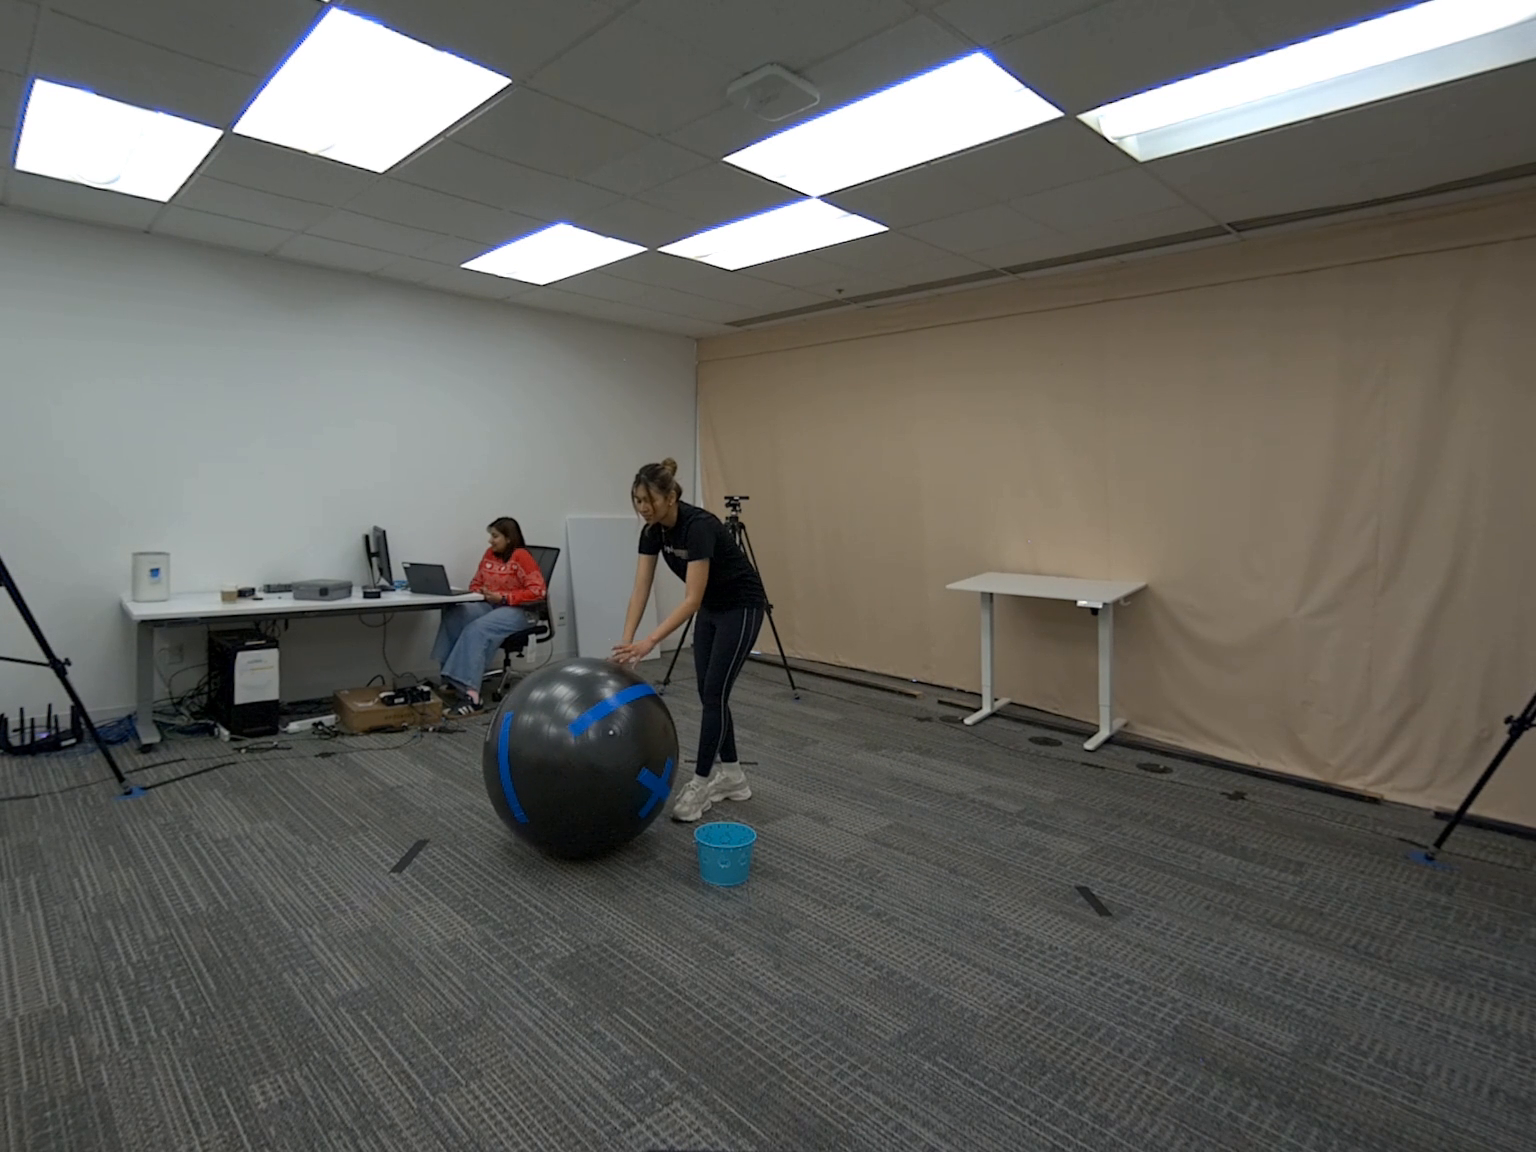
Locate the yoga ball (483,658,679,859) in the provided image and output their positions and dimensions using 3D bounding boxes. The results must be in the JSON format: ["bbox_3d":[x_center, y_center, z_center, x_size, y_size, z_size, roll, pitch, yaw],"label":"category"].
[{"bbox_3d":[-0.735,0.709,3.309,0.757,0.756,0.761,1,4,-1],"label":"yoga ball"}]
